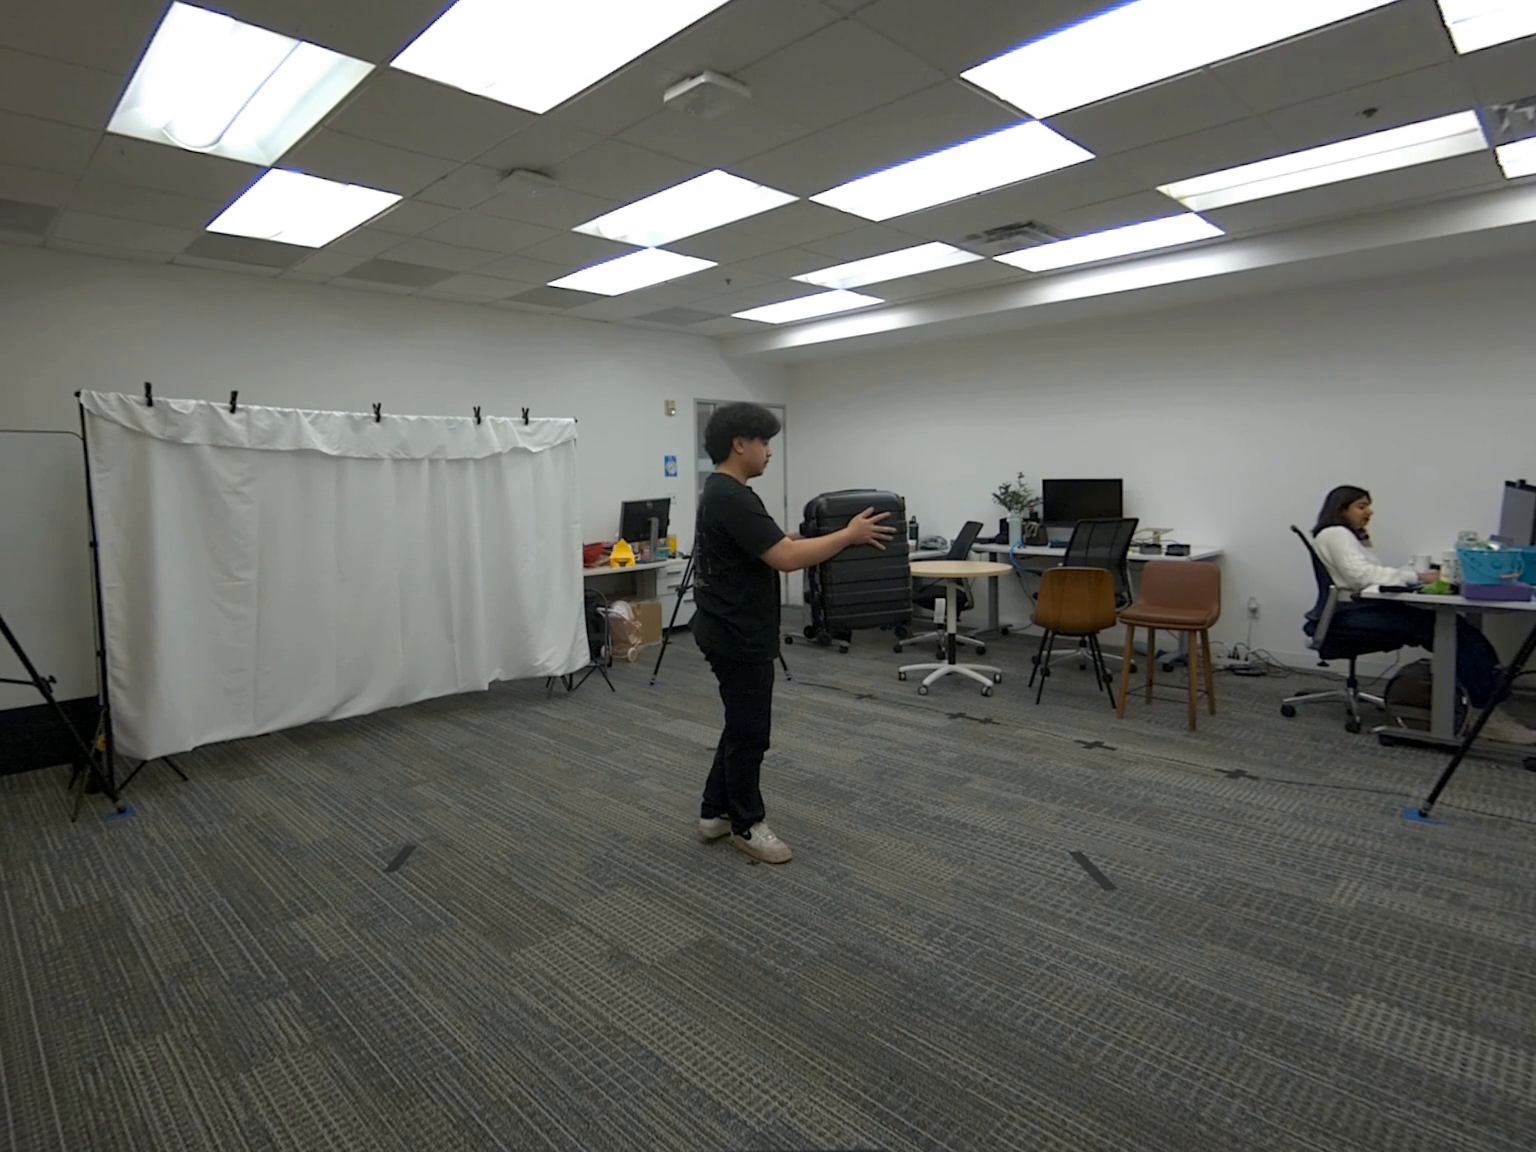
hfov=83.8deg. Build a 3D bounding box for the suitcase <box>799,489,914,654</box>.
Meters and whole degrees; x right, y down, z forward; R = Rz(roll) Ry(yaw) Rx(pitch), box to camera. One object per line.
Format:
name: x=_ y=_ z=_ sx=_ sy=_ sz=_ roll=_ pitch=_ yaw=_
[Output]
suitcase: x=0.325 y=-0.044 z=3.179 sx=0.372 sy=0.548 sz=0.251 roll=-4 pitch=3 yaw=-9
